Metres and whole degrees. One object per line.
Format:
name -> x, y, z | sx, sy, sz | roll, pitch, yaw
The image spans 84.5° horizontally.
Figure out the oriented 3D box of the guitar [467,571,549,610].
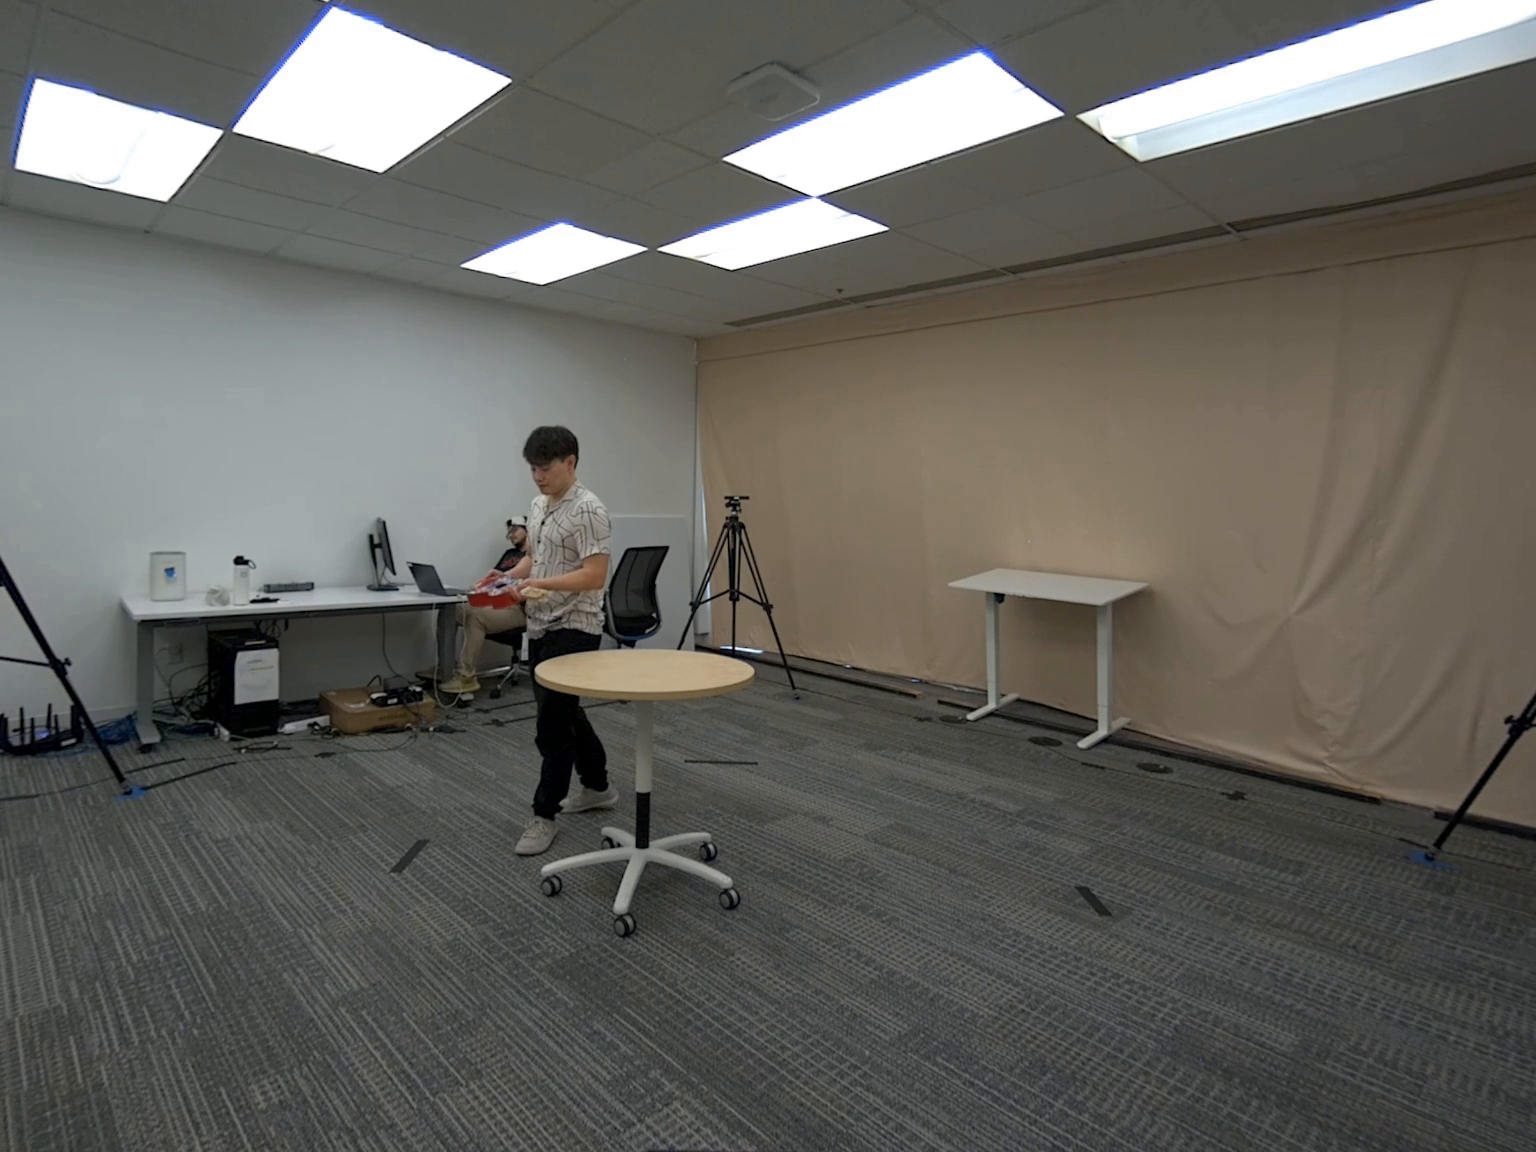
guitar -> -0.999, 0.080, 3.189 | 0.191, 0.069, 0.511 | -29, 25, -29
